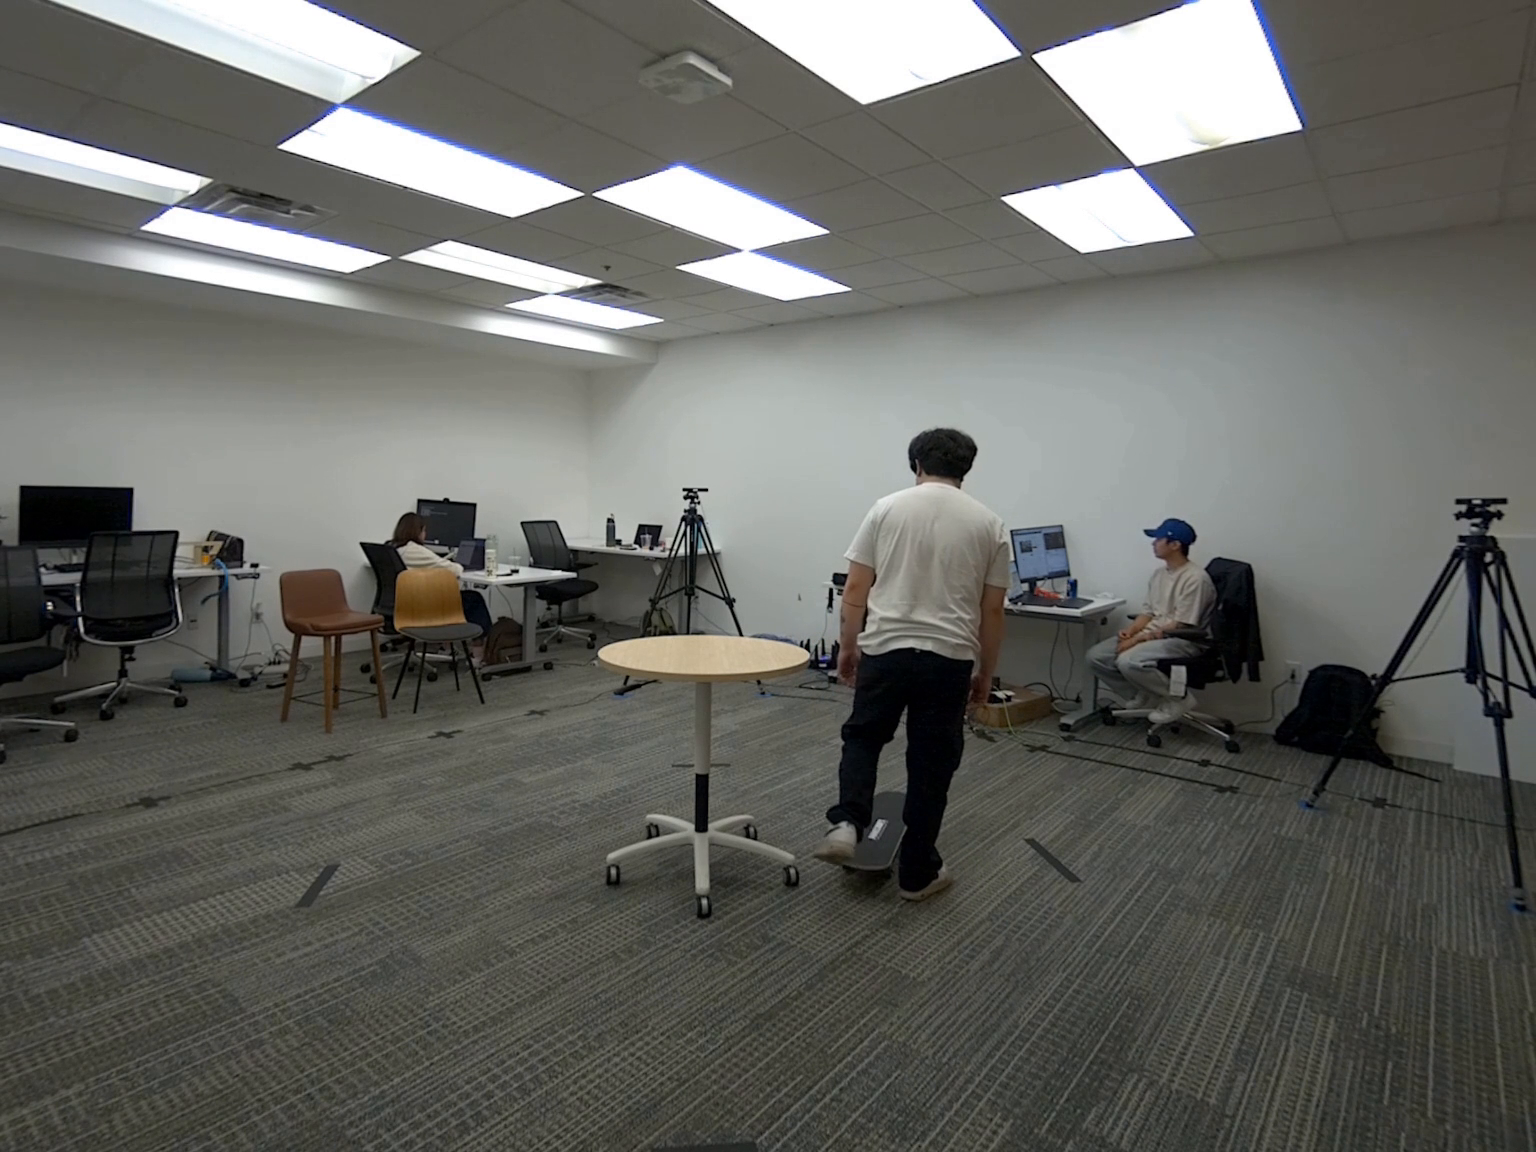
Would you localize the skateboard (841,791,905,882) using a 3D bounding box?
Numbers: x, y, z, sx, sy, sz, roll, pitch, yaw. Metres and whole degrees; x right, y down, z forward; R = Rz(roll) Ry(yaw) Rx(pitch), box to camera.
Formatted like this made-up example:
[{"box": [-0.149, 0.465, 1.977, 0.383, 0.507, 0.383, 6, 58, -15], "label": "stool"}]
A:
[{"box": [0.417, 1.012, 3.301, 0.198, 0.110, 0.772, 3, 7, 19], "label": "skateboard"}]
